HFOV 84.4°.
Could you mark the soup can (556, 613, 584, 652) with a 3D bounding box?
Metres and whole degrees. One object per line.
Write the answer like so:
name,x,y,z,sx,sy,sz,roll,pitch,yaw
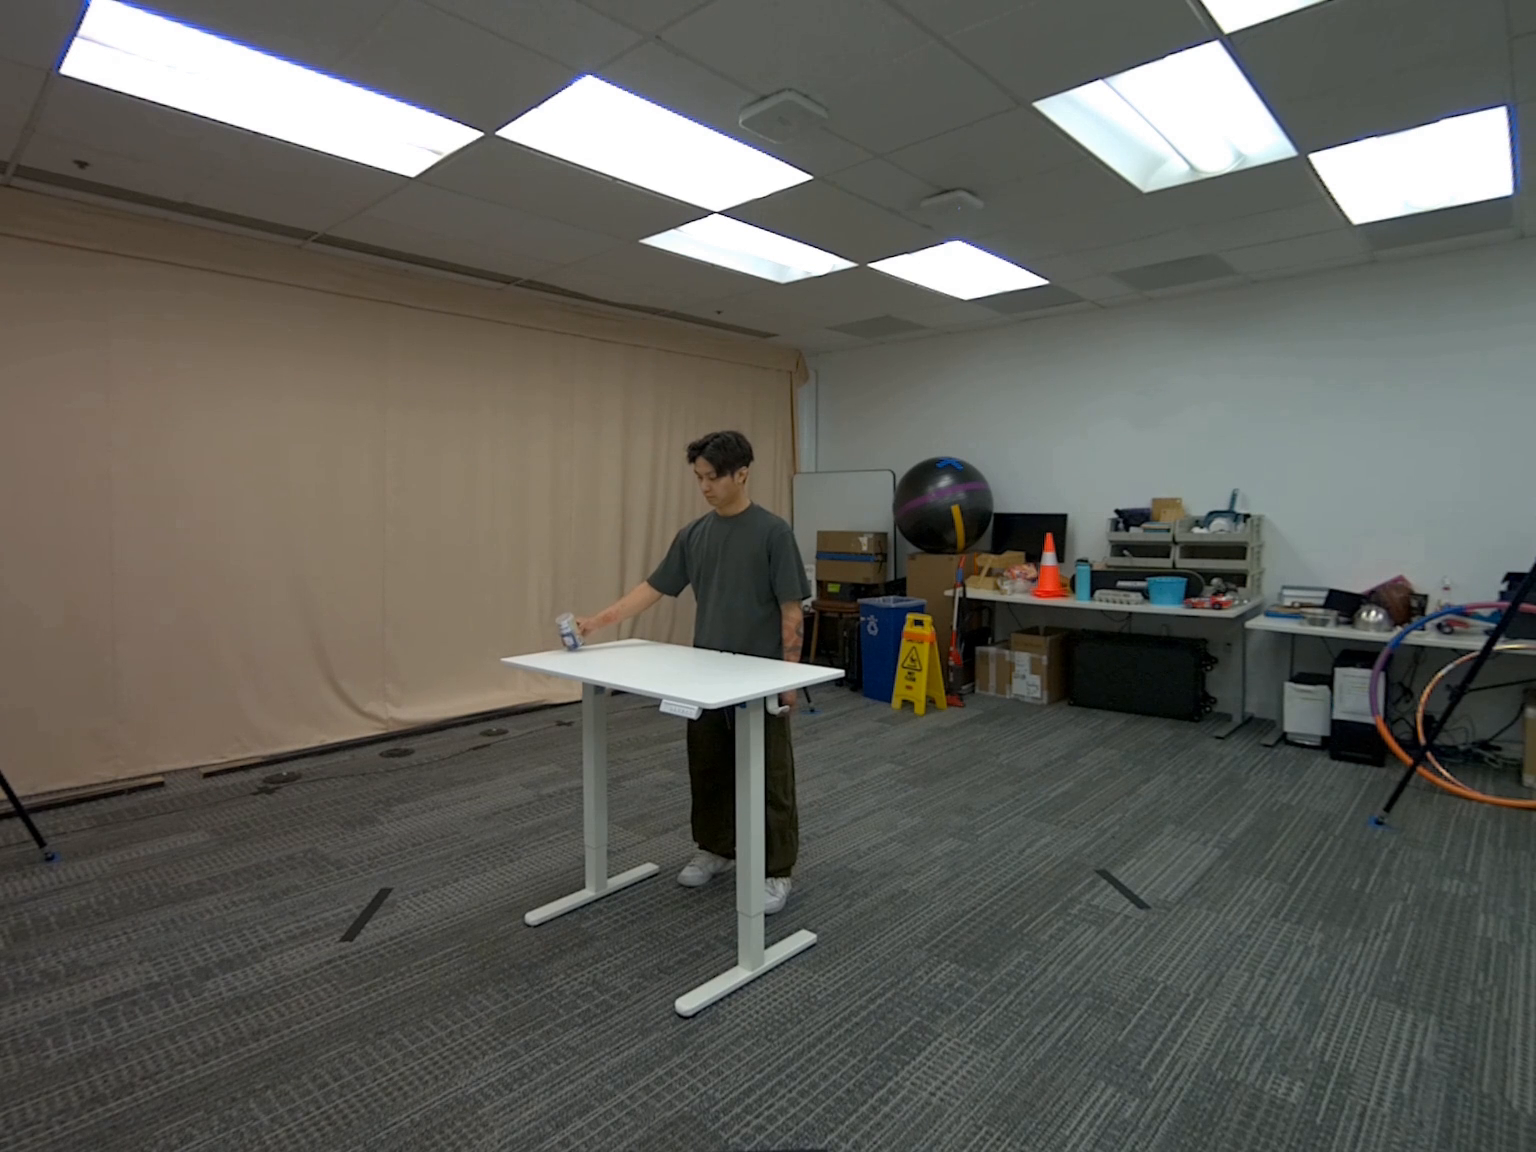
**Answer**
soup can,-0.705,0.203,3.002,0.067,0.121,0.067,-17,7,1
